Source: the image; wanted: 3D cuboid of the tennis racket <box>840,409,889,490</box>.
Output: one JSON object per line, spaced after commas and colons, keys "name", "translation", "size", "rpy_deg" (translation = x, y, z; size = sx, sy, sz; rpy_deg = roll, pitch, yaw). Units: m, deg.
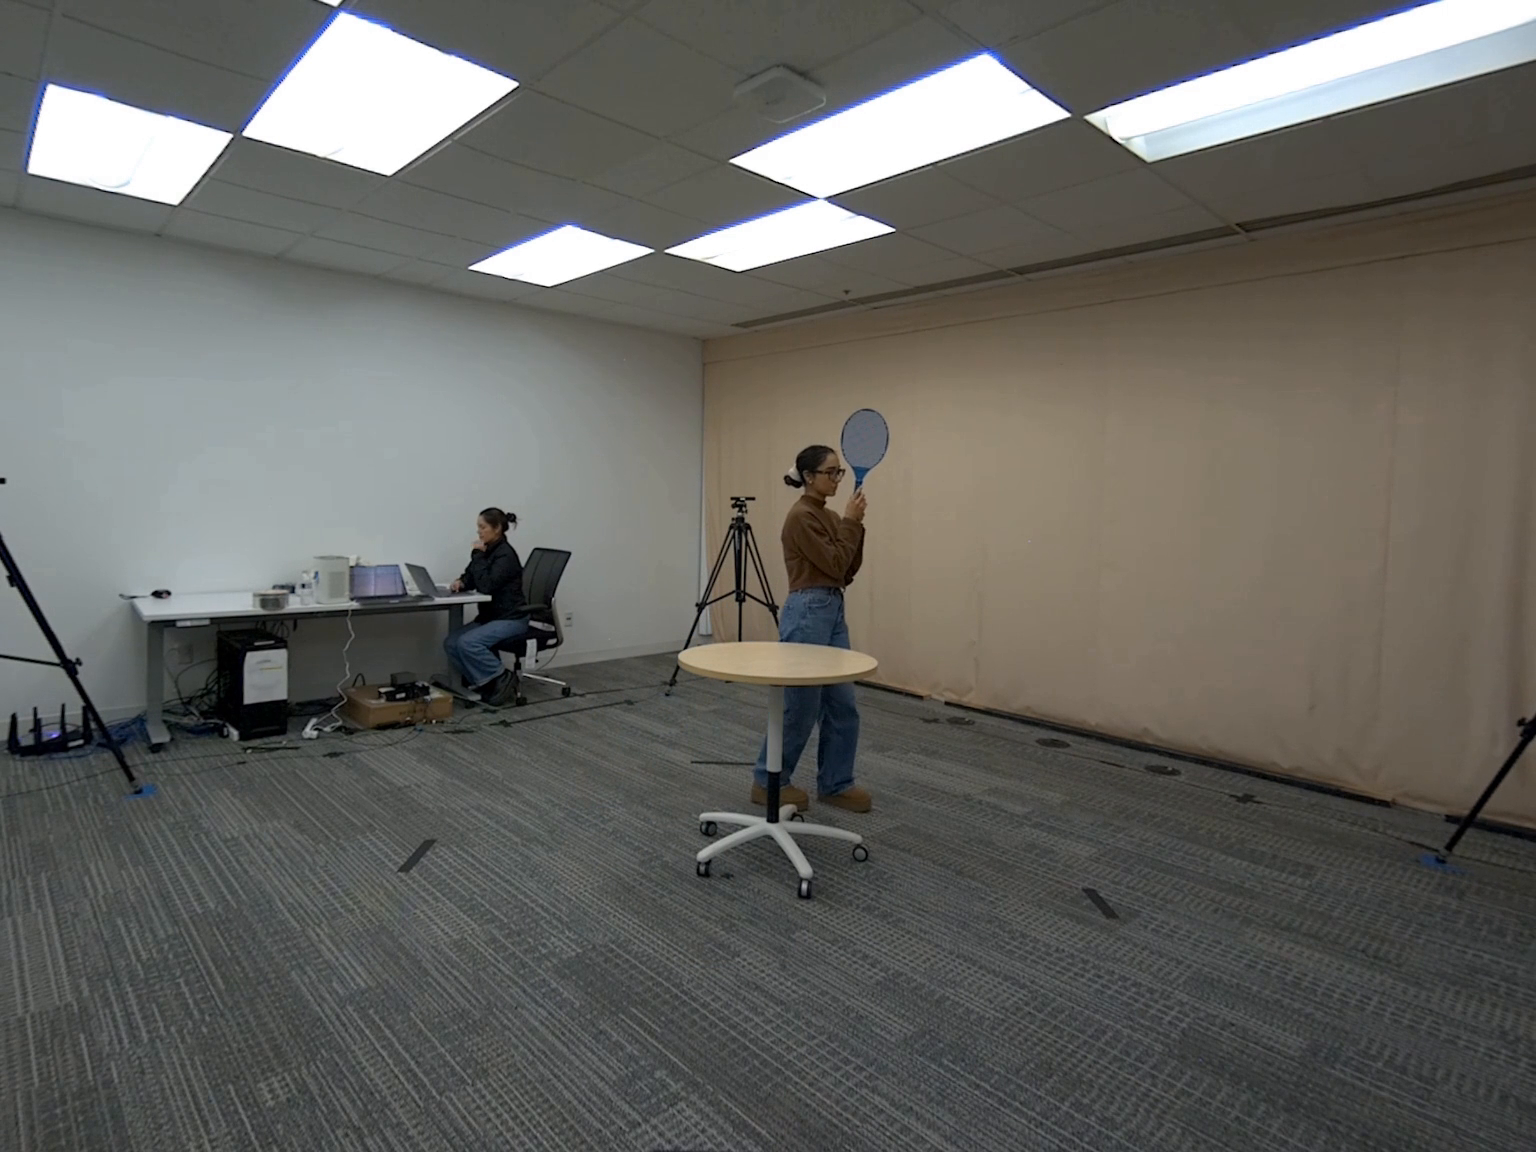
{"name": "tennis racket", "translation": [0.394, -0.517, 3.680], "size": [0.218, 0.431, 0.031], "rpy_deg": [12, 9, 25]}
